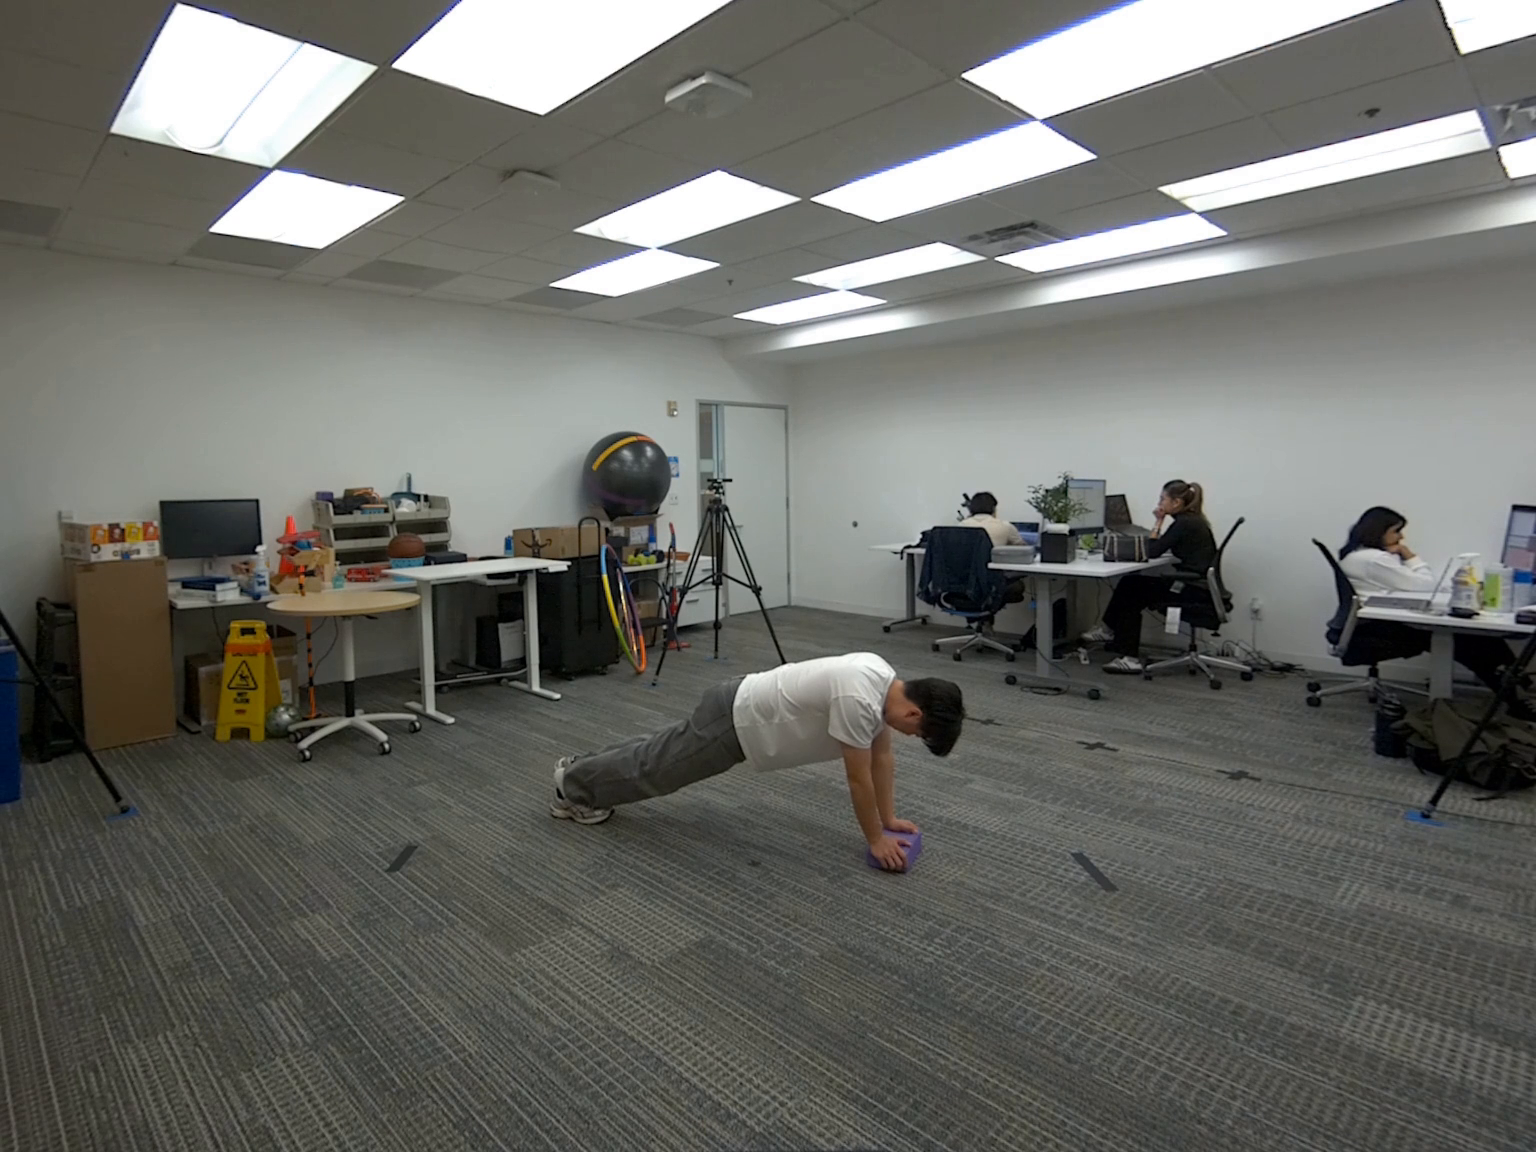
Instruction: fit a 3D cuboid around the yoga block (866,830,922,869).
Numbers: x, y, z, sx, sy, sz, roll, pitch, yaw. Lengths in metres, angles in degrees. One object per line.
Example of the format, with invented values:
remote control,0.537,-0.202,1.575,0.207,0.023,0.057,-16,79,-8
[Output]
yoga block,0.467,1.001,3.140,0.152,0.076,0.225,3,6,25
